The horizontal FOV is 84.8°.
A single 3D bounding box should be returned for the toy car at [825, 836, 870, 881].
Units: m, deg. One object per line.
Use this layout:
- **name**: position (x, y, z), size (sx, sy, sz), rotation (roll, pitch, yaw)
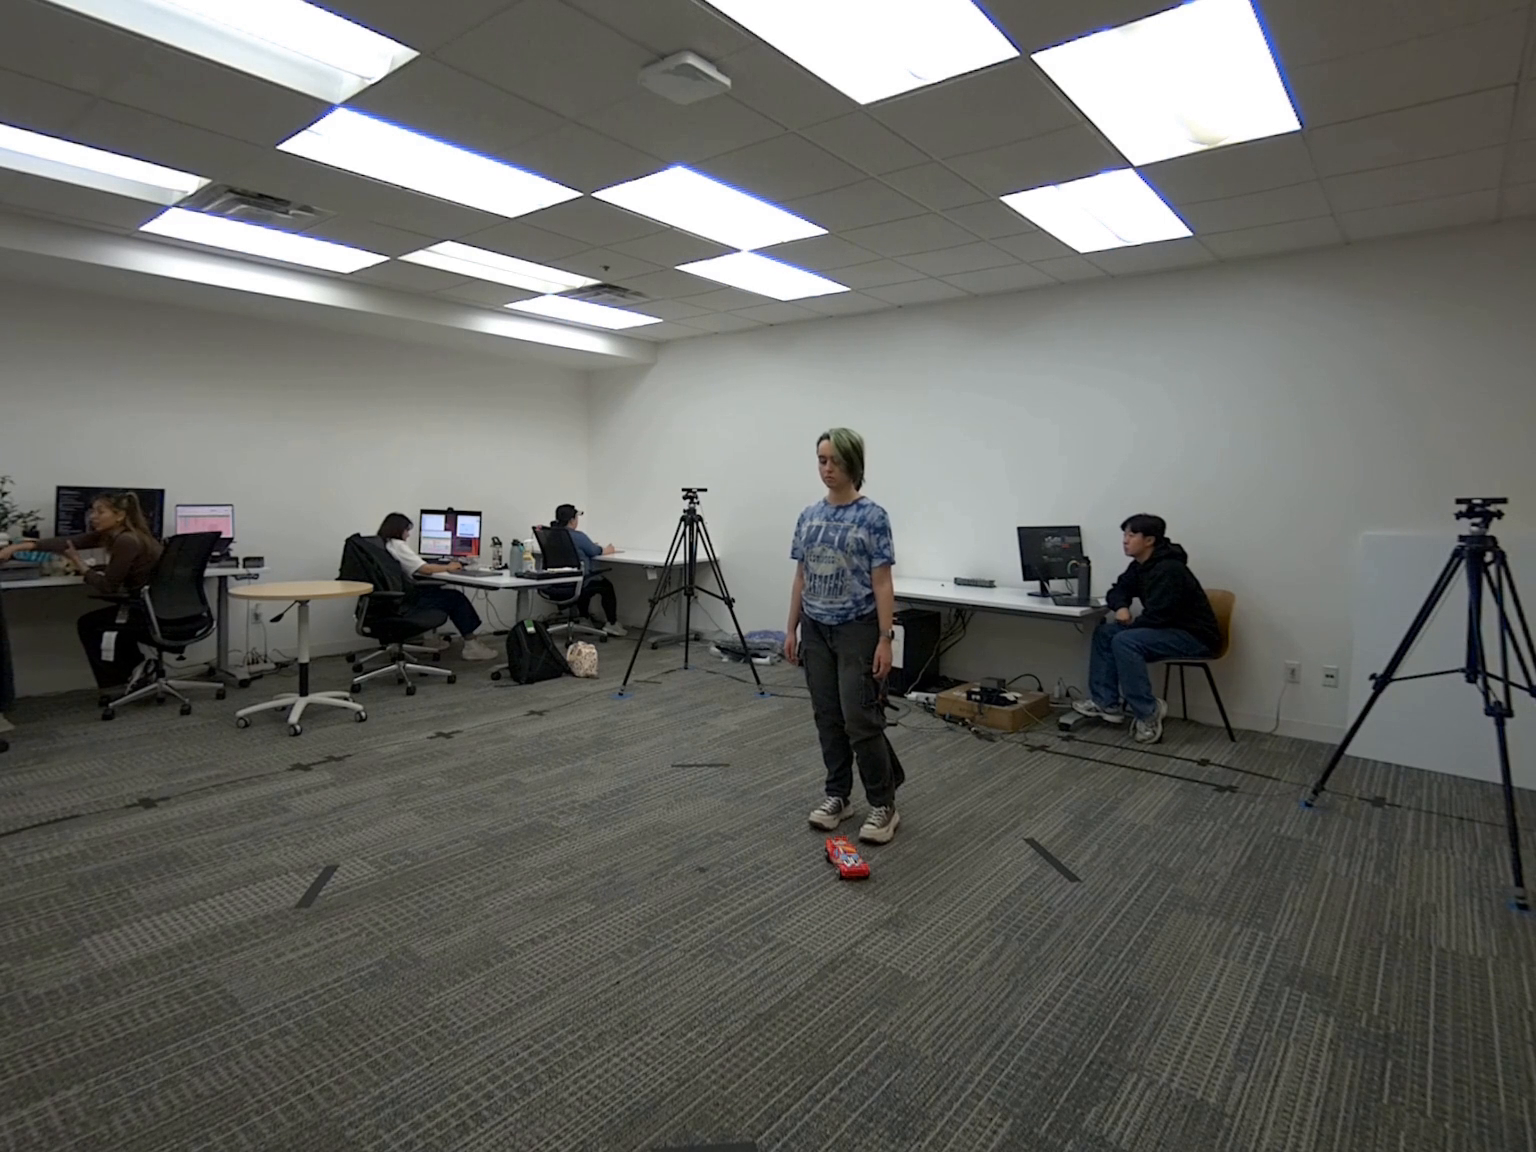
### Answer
- **toy car**: position (0.282, 1.043, 3.156), size (0.129, 0.082, 0.261), rotation (-1, 17, -11)
